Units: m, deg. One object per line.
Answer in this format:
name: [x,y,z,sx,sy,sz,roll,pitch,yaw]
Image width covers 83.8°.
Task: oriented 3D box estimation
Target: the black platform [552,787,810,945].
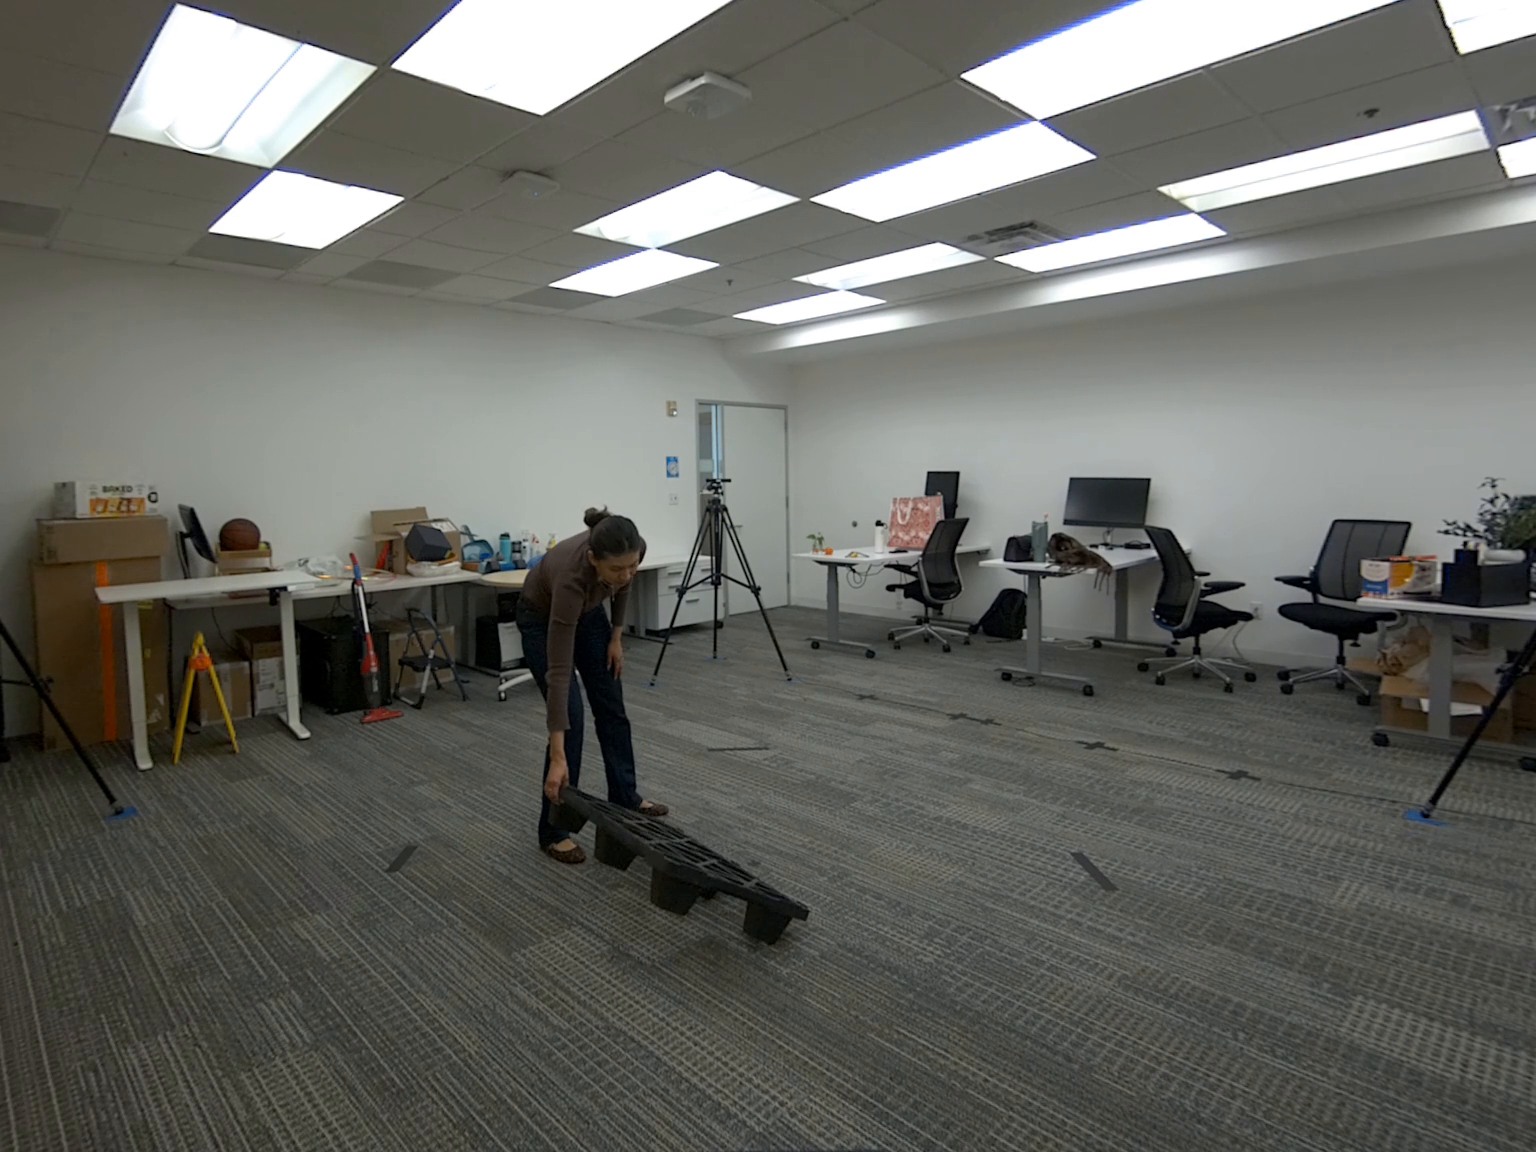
black platform: [-0.334,0.920,2.754,0.584,0.144,0.830,34,-15,-34]
